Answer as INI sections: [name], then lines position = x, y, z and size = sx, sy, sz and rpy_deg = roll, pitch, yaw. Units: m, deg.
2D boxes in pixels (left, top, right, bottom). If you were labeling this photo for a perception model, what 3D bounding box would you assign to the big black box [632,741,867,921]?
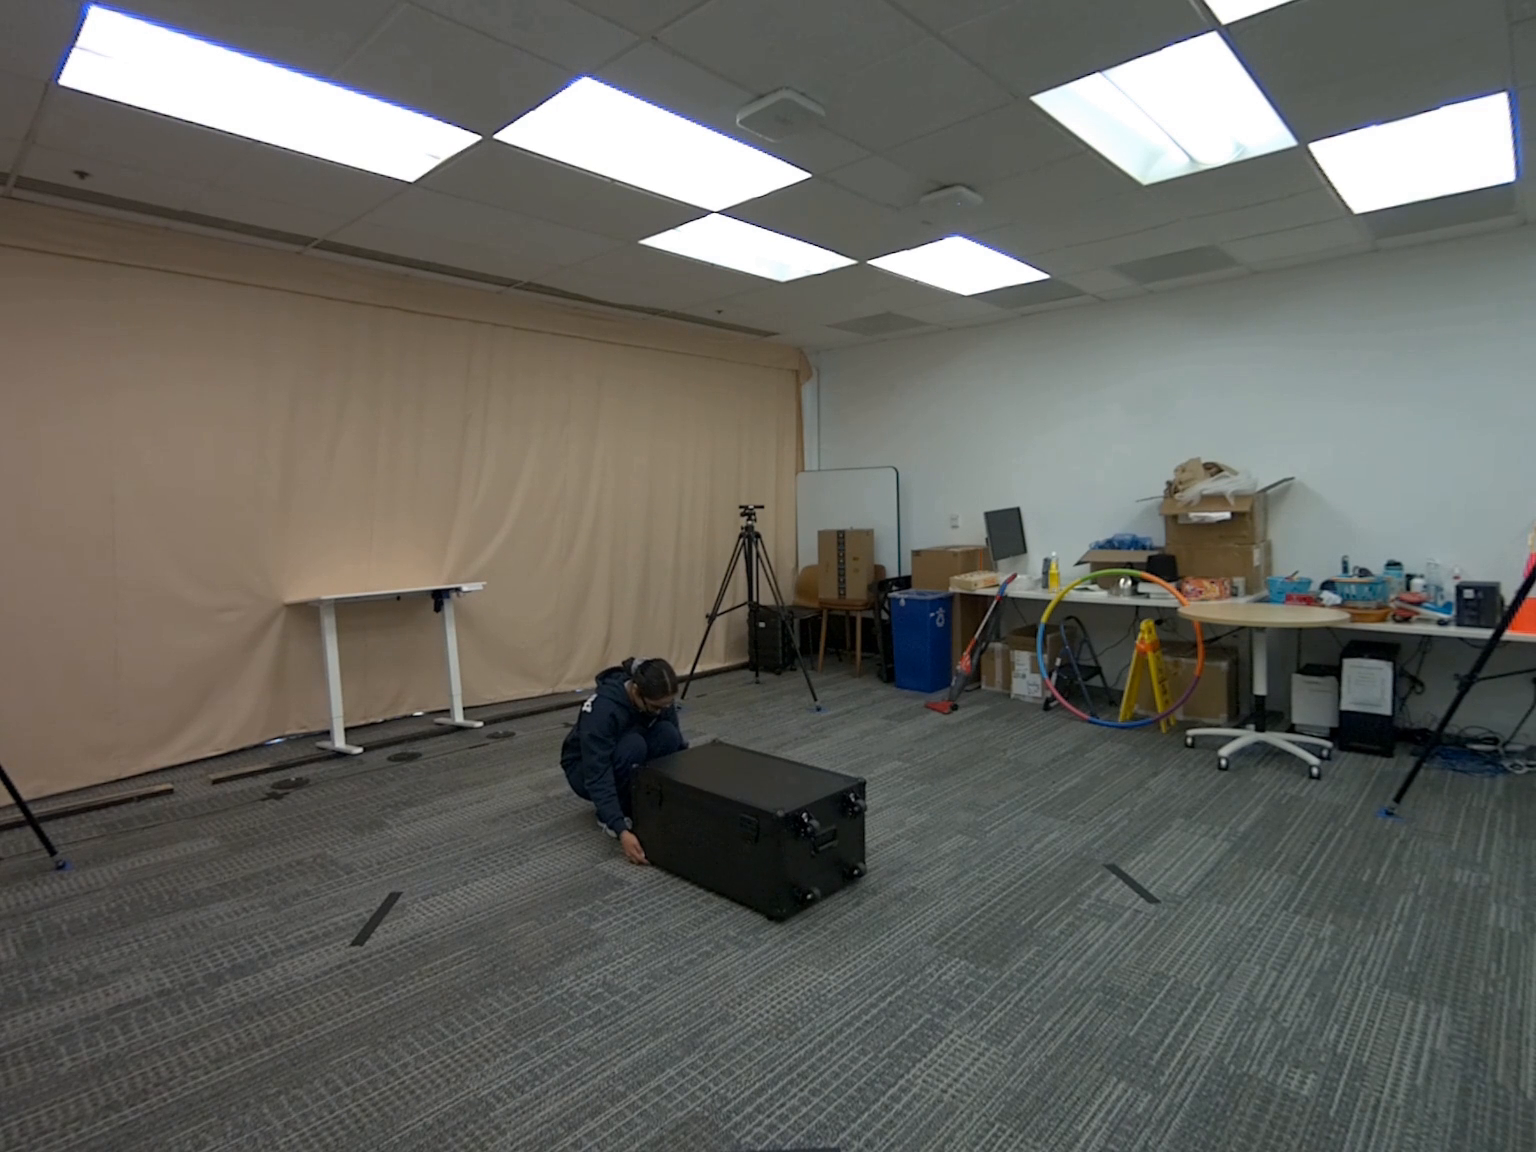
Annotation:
[big black box]
position = -0.061, 0.932, 3.184
size = 0.890, 0.395, 0.506
rpy_deg = 2, 6, 43
